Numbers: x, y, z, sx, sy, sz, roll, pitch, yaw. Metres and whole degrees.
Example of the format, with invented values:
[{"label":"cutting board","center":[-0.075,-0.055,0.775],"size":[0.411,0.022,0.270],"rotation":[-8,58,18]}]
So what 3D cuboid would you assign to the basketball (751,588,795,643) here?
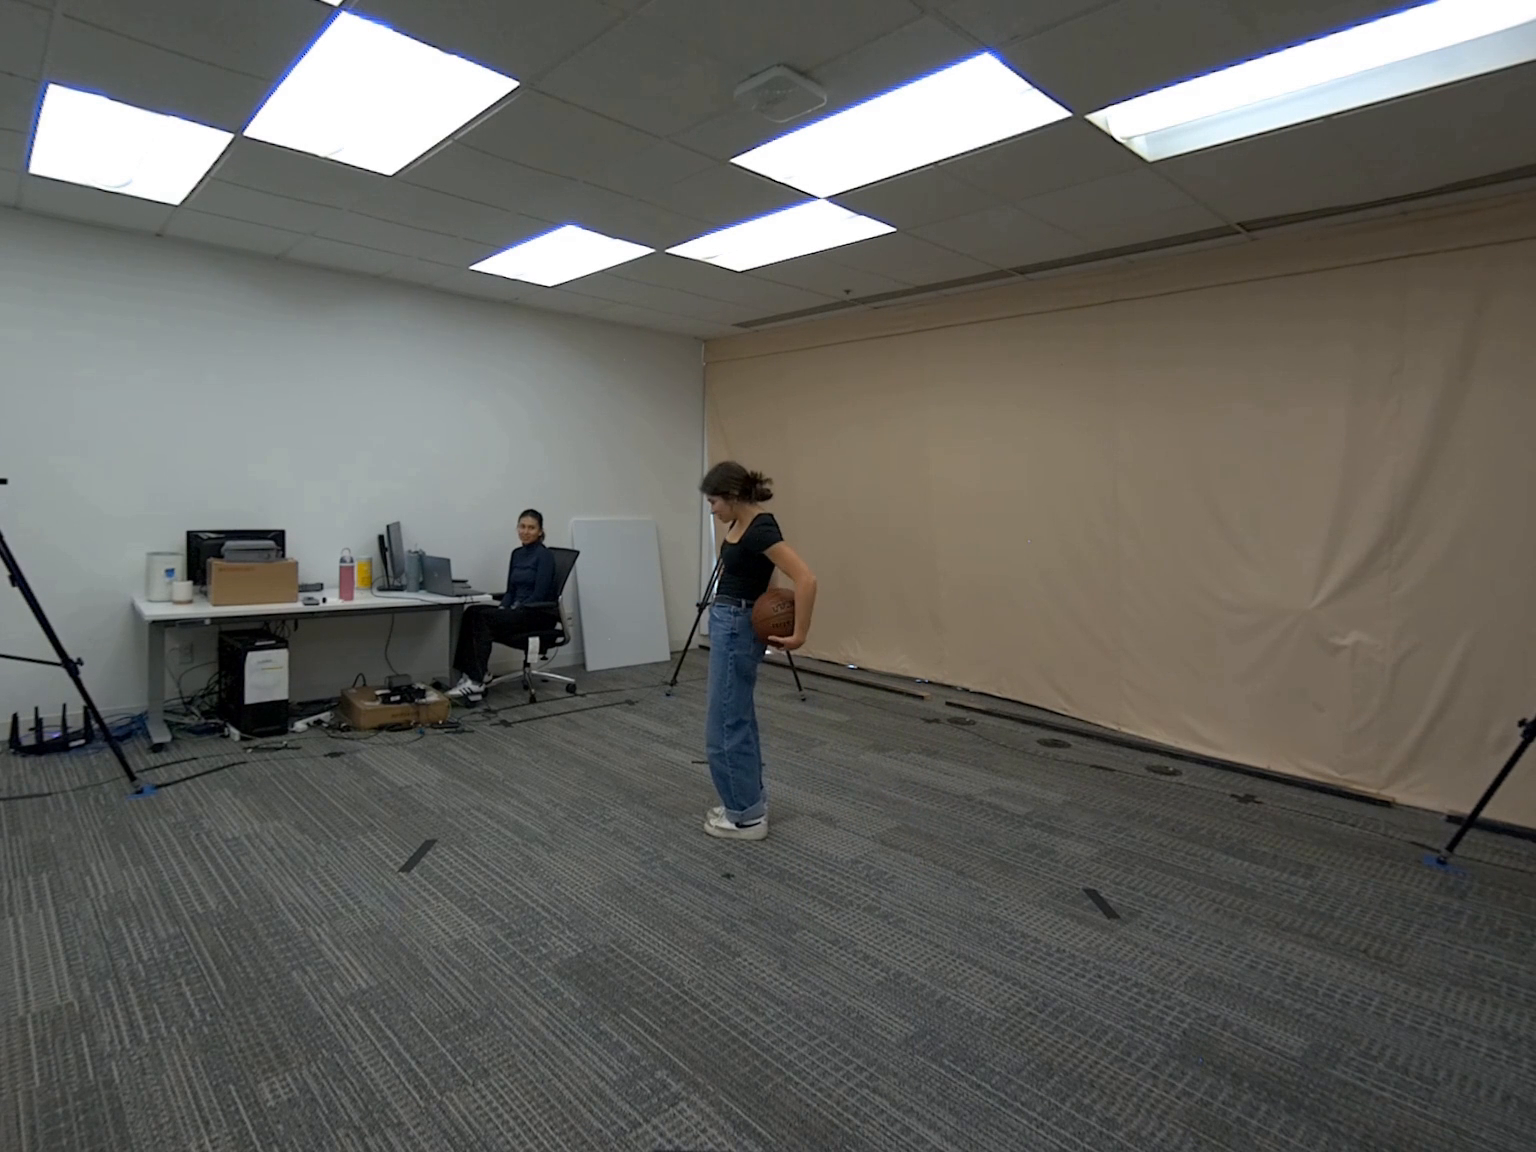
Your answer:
[{"label":"basketball","center":[0.045,0.156,3.357],"size":[0.236,0.235,0.237],"rotation":[1,4,-1]}]
